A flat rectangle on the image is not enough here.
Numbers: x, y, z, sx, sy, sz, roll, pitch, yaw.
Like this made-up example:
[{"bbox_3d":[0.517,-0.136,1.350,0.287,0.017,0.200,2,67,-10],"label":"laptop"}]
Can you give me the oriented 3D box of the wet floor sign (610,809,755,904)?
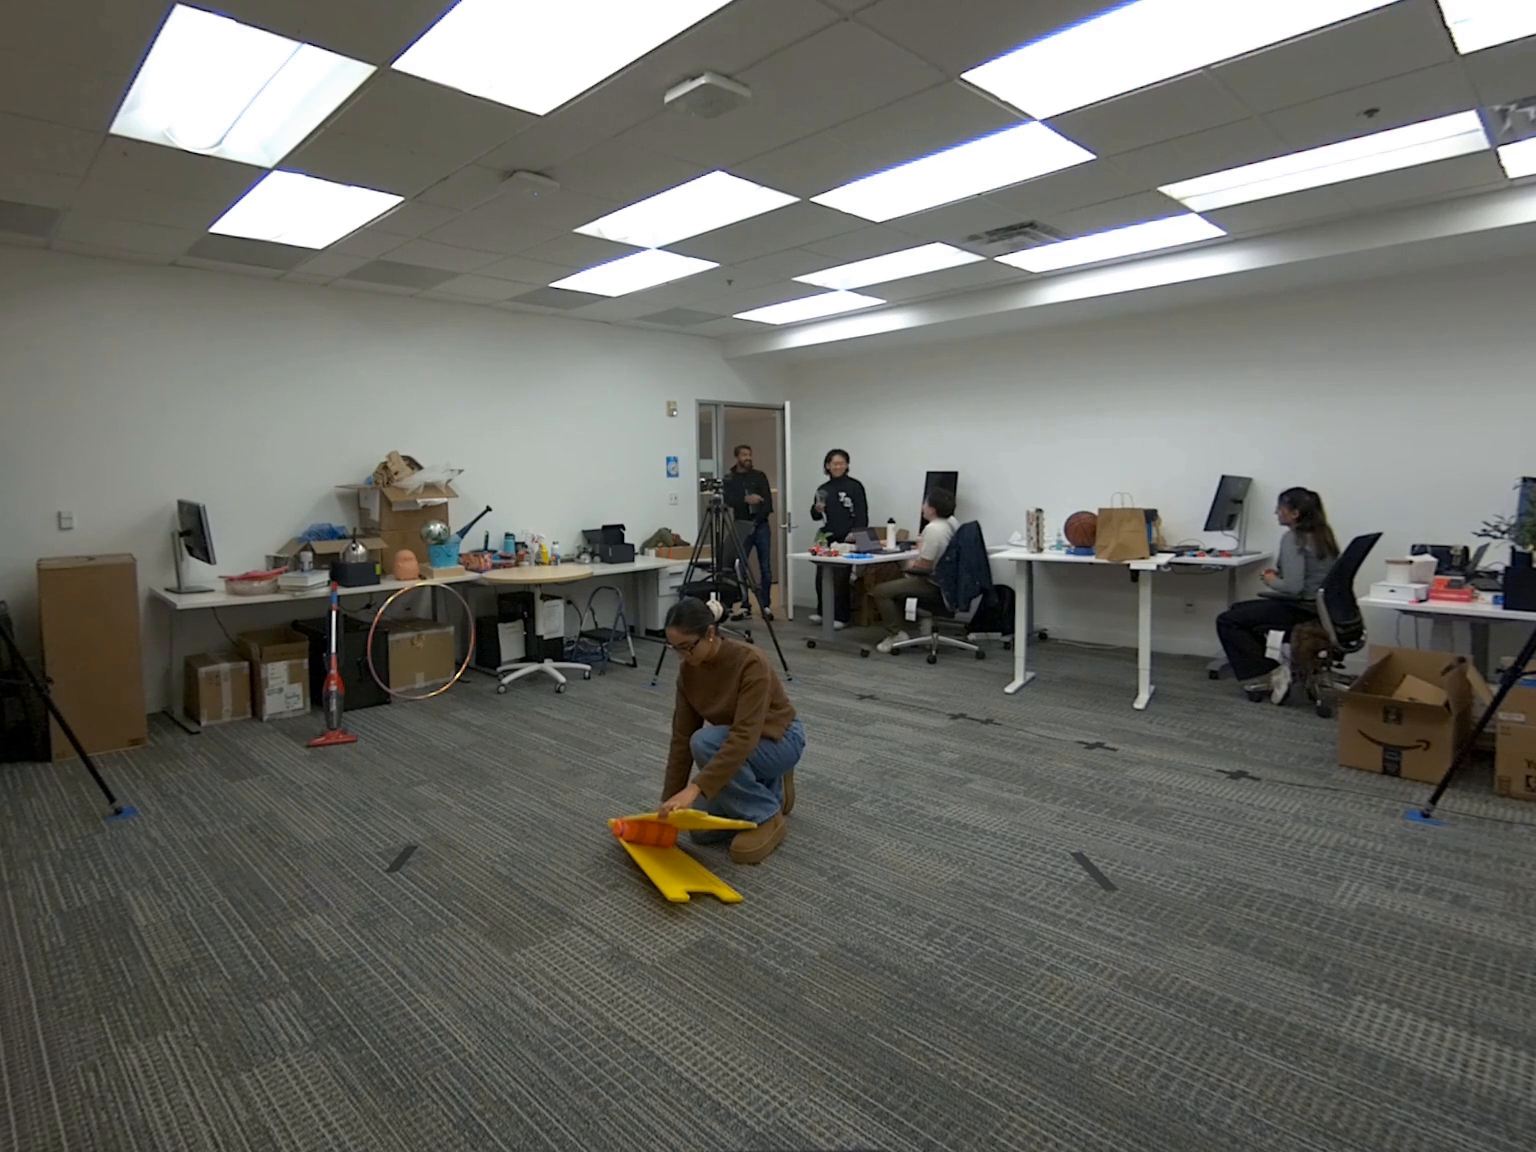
[{"bbox_3d":[-0.349,0.947,3.064,0.273,0.292,0.660,17,-14,-31],"label":"wet floor sign"}]
